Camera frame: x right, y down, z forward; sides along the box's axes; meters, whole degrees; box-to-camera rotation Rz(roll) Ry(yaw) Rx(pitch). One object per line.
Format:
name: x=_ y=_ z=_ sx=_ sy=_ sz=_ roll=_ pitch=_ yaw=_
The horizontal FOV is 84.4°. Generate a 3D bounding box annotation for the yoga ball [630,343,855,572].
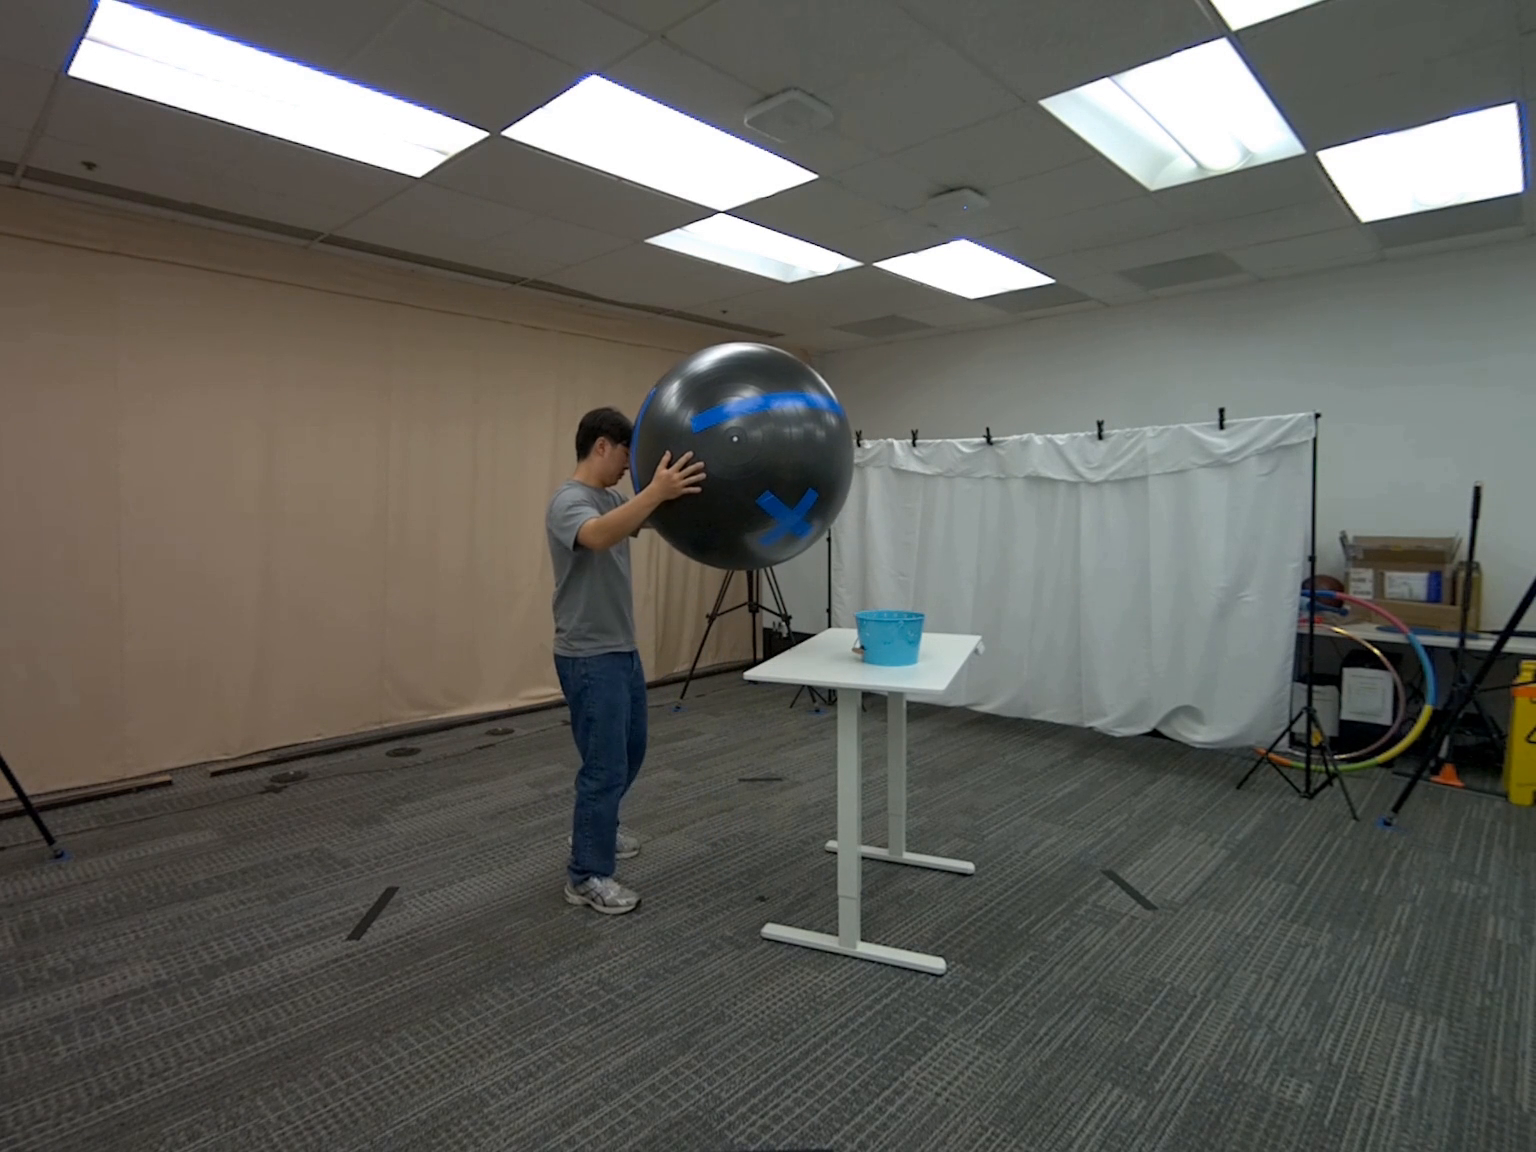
yoga ball: x=-0.087 y=-0.392 z=2.868 sx=0.757 sy=0.756 sz=0.760 roll=0 pitch=4 yaw=-2
